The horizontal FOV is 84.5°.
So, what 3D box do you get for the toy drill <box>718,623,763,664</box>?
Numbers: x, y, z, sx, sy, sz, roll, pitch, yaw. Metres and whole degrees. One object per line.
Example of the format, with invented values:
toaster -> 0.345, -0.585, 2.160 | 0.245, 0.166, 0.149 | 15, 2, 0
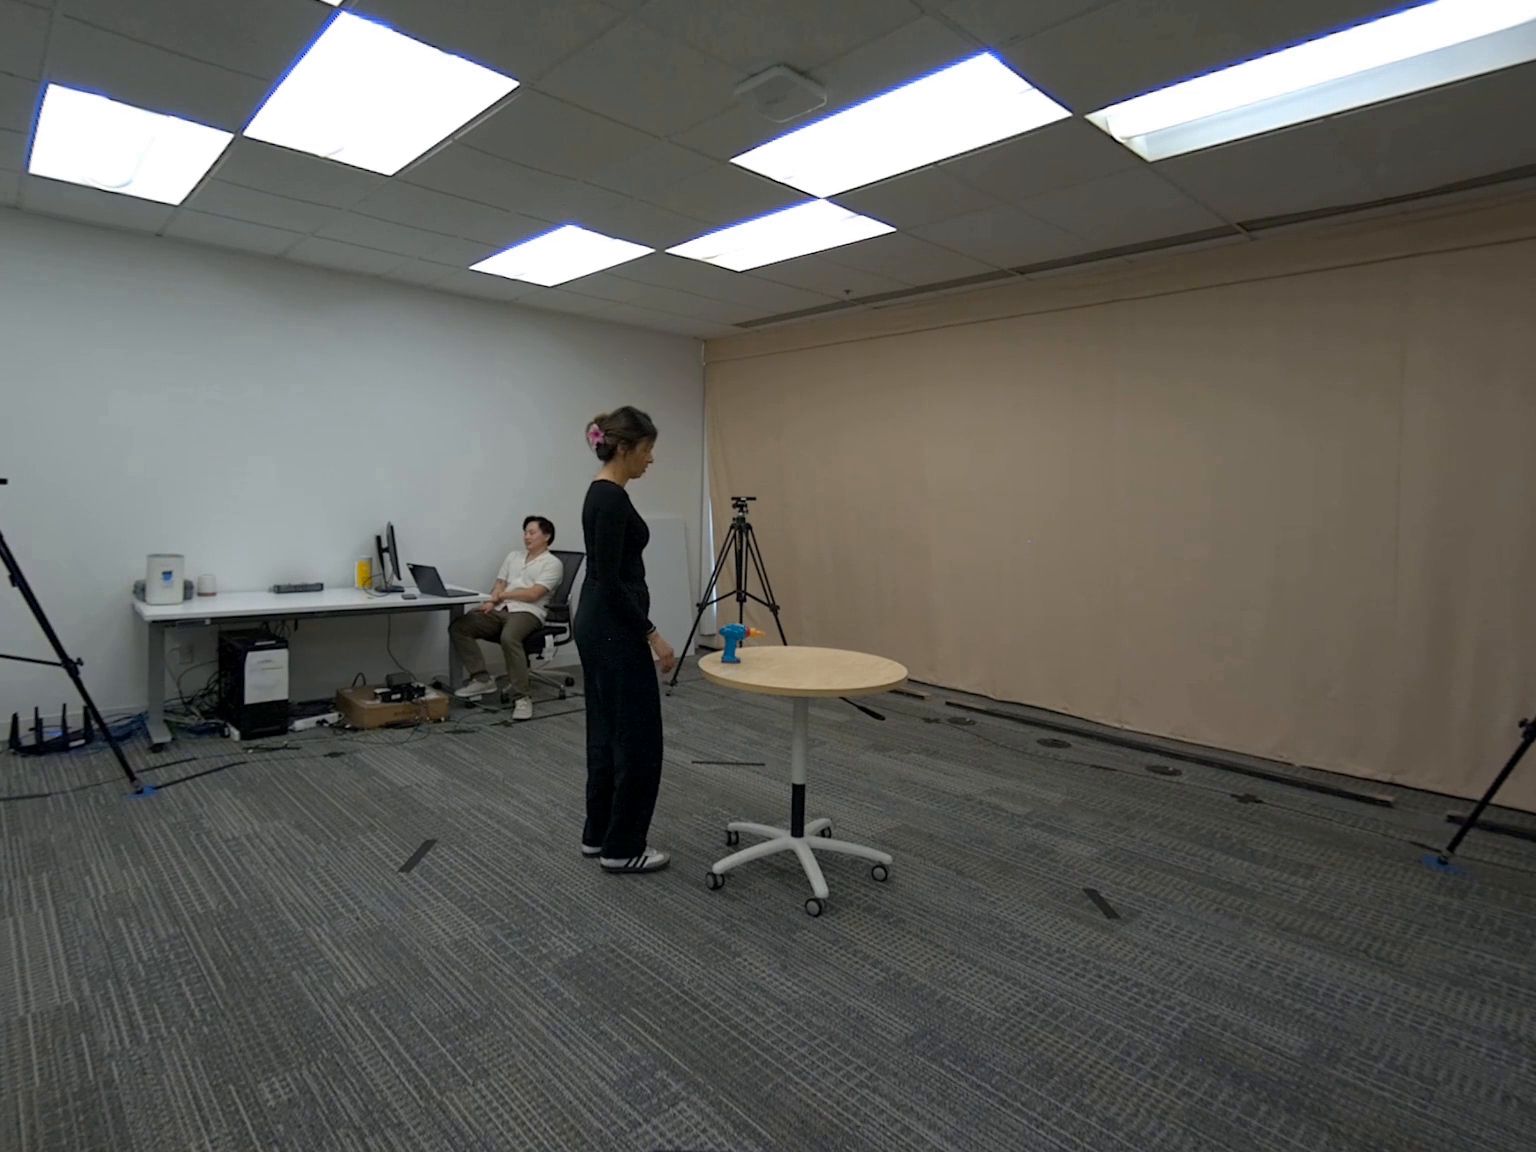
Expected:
toy drill -> -0.106, 0.247, 3.117 | 0.169, 0.145, 0.061 | 1, 4, -2
